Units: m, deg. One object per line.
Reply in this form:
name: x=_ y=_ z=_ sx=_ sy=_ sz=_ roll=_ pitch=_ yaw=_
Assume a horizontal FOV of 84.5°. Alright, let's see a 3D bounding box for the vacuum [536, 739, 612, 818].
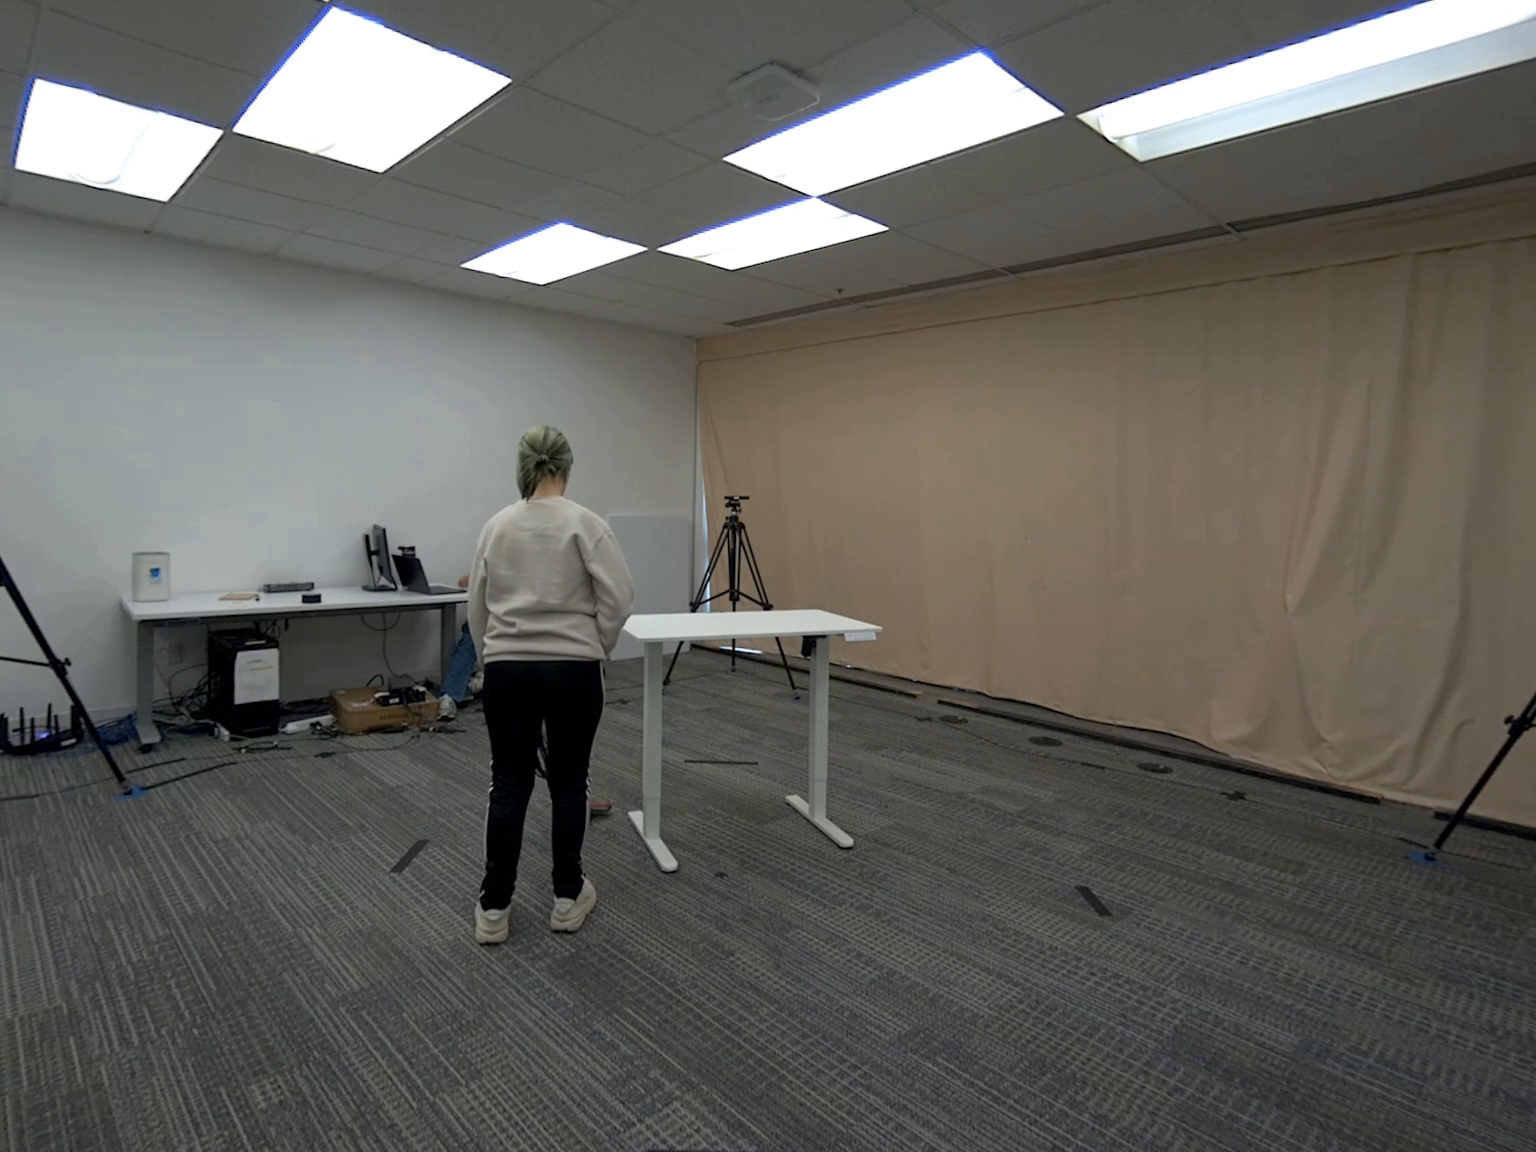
vacuum: x=-0.855 y=0.707 z=3.241 sx=0.254 sy=0.147 sz=1.023 roll=-1 pitch=-39 yaw=5
